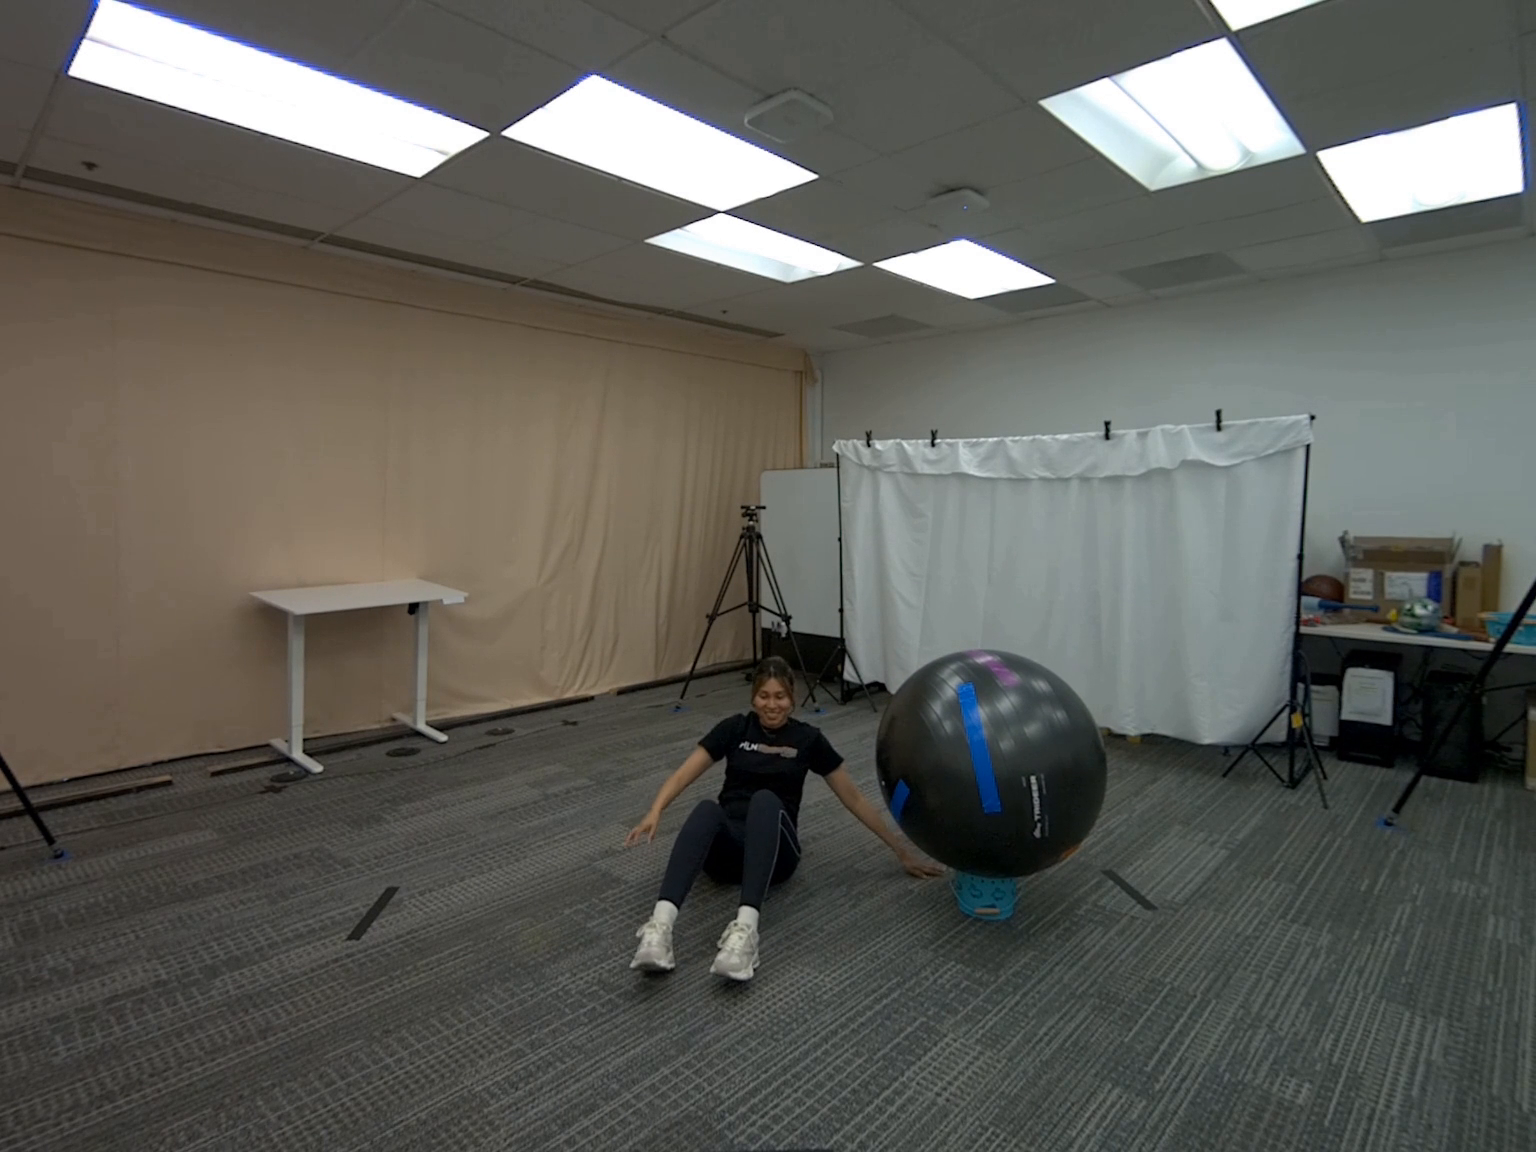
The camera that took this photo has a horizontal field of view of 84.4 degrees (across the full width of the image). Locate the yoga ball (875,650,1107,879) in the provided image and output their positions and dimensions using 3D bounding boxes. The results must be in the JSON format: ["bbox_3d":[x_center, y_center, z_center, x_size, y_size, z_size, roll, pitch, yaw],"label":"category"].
[{"bbox_3d":[0.763,0.641,2.900,0.757,0.756,0.760,0,4,-2],"label":"yoga ball"}]
